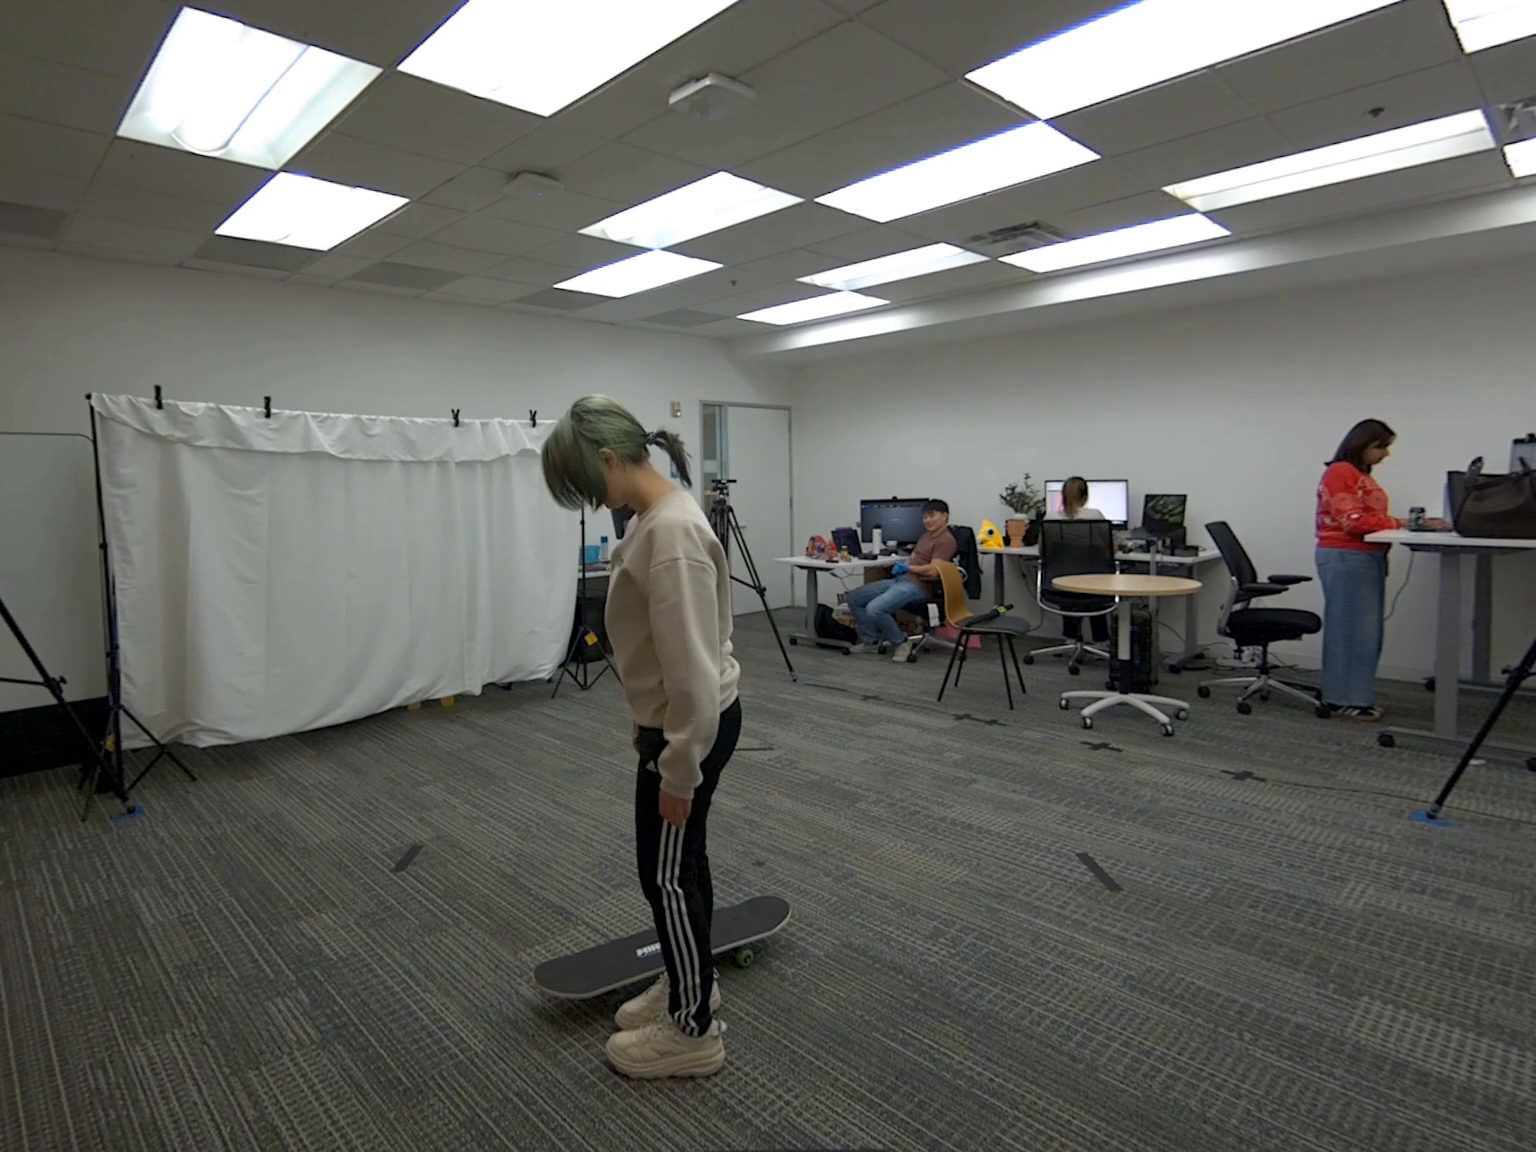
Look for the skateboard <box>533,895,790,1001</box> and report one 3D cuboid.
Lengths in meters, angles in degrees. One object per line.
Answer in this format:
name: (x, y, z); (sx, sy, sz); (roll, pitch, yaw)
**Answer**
skateboard: (-0.269, 1.073, 2.426); (0.767, 0.110, 0.199); (-5, 8, -30)
